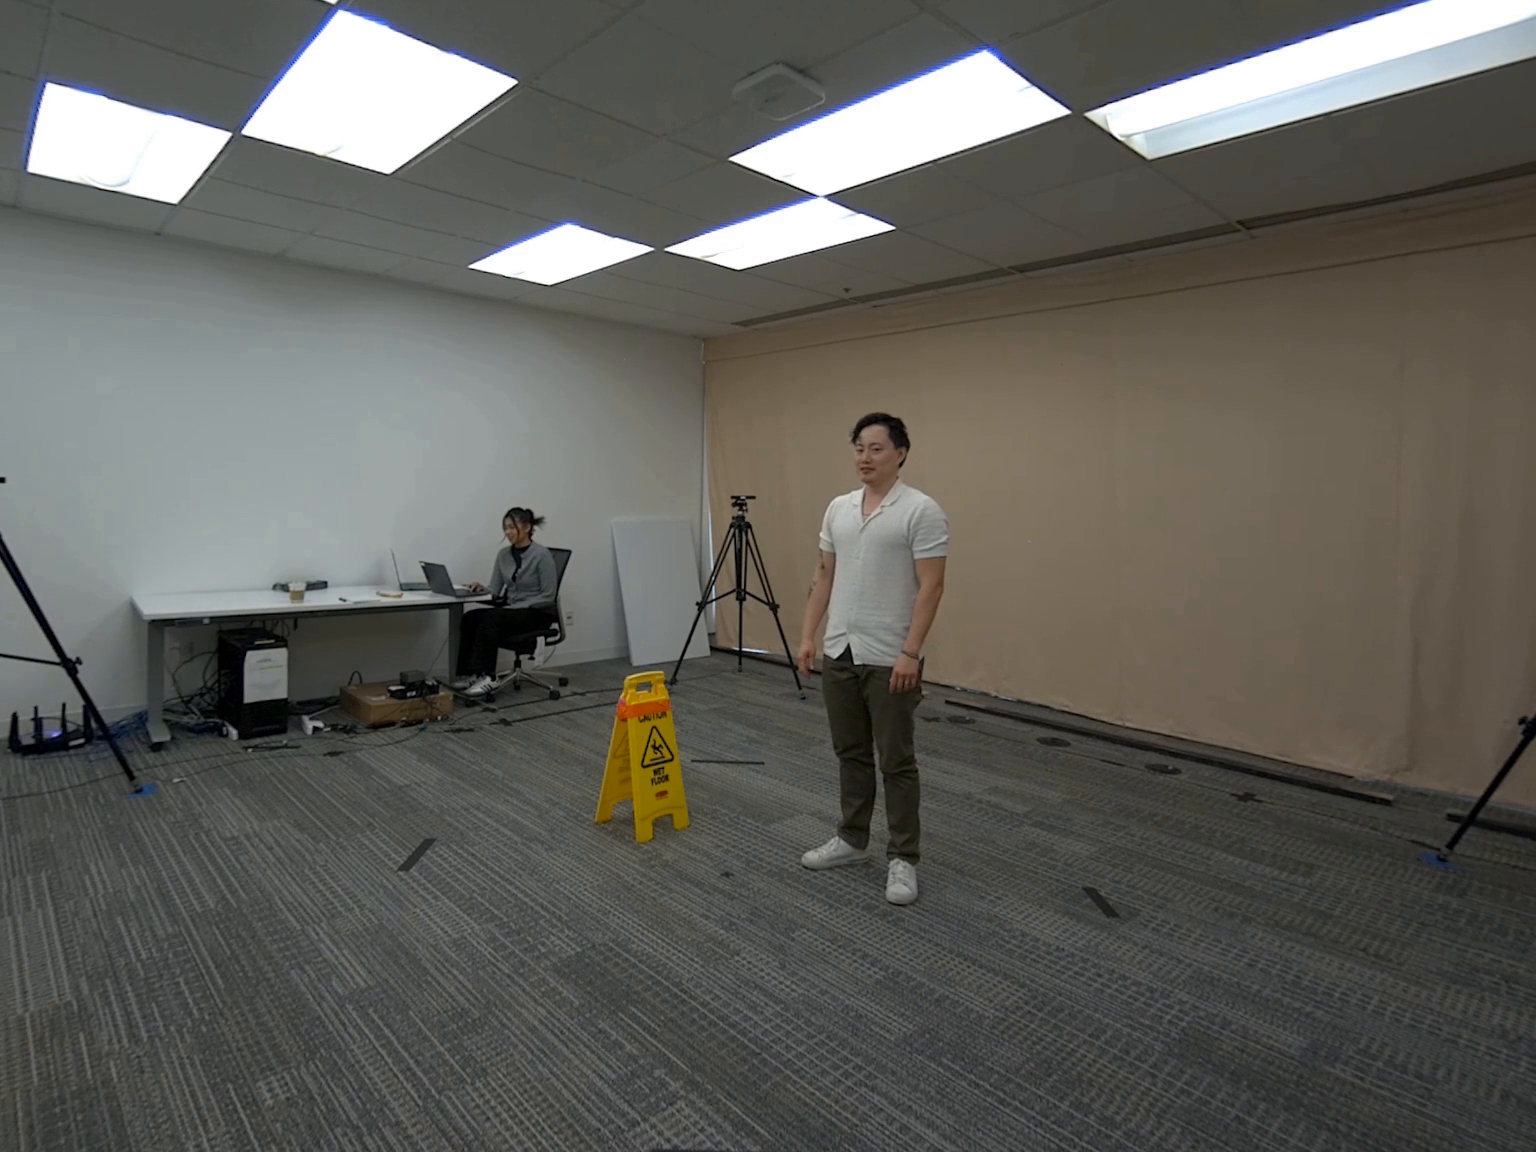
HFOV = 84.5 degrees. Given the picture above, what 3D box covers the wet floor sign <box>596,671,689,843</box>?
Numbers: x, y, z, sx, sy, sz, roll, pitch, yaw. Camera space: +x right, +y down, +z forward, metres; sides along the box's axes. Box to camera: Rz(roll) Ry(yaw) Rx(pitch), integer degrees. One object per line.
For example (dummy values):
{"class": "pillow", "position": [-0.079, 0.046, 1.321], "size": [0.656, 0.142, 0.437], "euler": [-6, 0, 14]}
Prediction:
{"class": "wet floor sign", "position": [-0.534, 0.730, 3.549], "size": [0.297, 0.645, 0.275], "euler": [3, 3, 43]}
